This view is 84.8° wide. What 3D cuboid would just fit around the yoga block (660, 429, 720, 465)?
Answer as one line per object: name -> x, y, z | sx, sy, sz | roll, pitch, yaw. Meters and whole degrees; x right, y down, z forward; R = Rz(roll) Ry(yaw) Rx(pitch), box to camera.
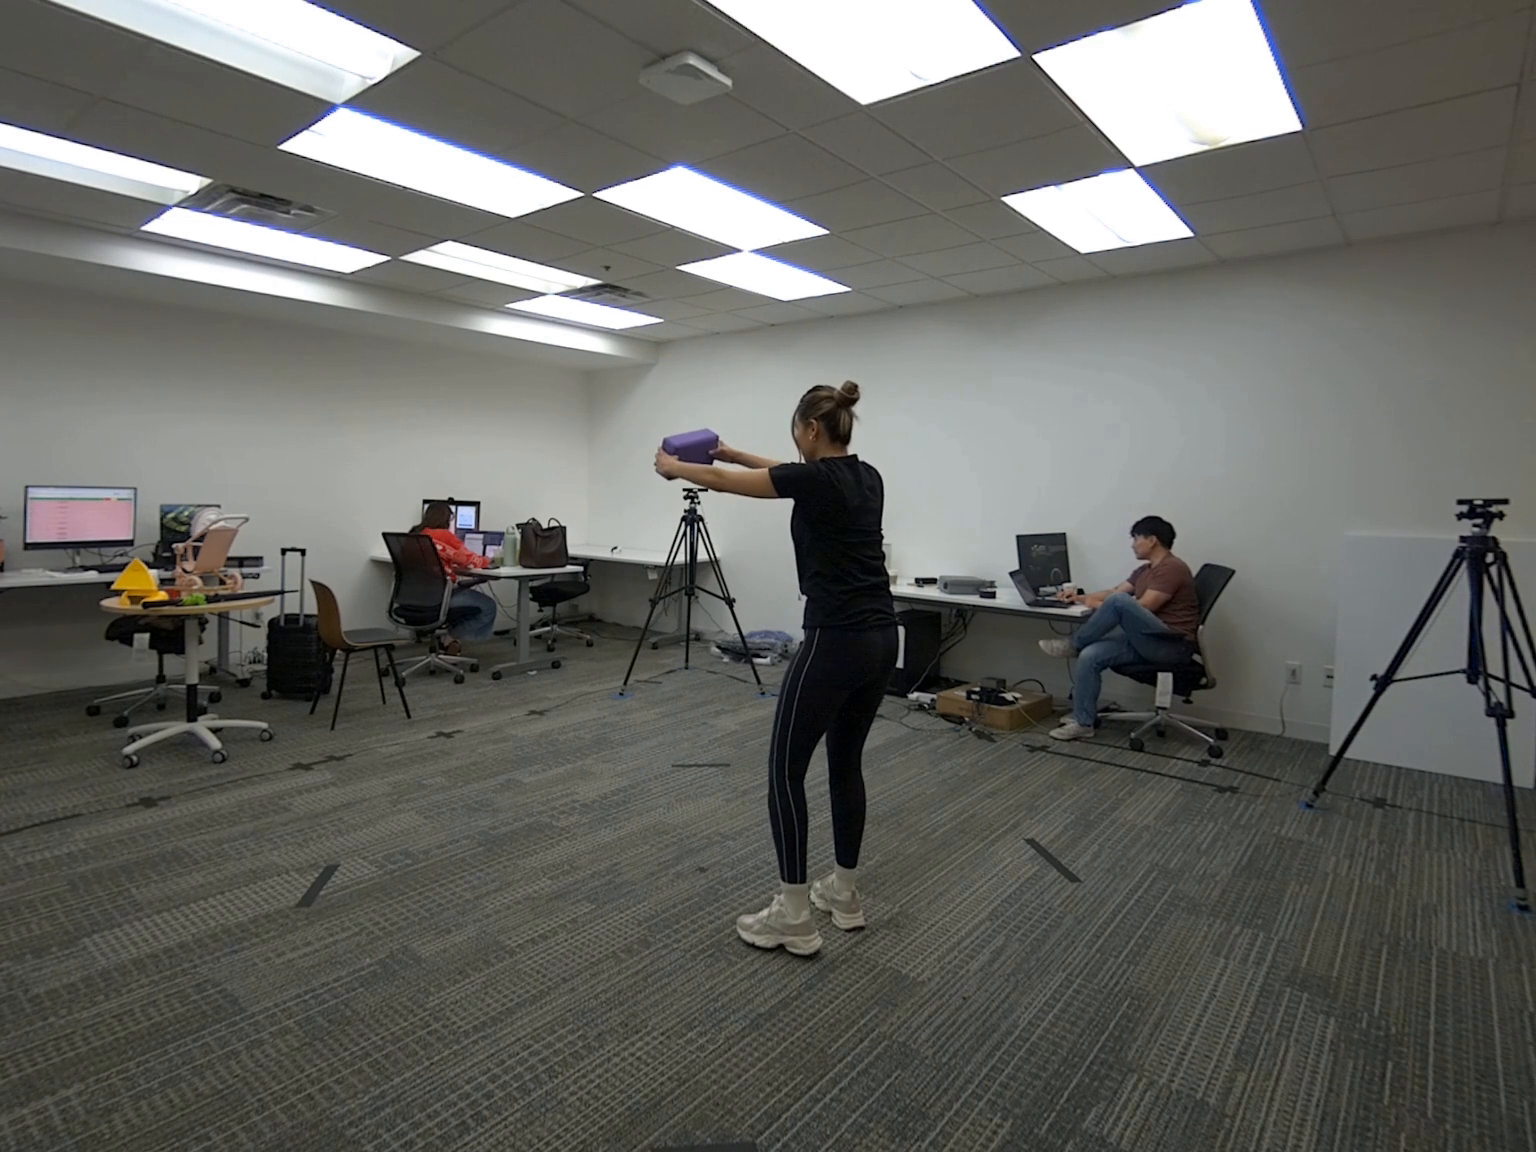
yoga block -> -0.301, -0.439, 3.101 | 0.079, 0.146, 0.225 | 35, 39, 30
